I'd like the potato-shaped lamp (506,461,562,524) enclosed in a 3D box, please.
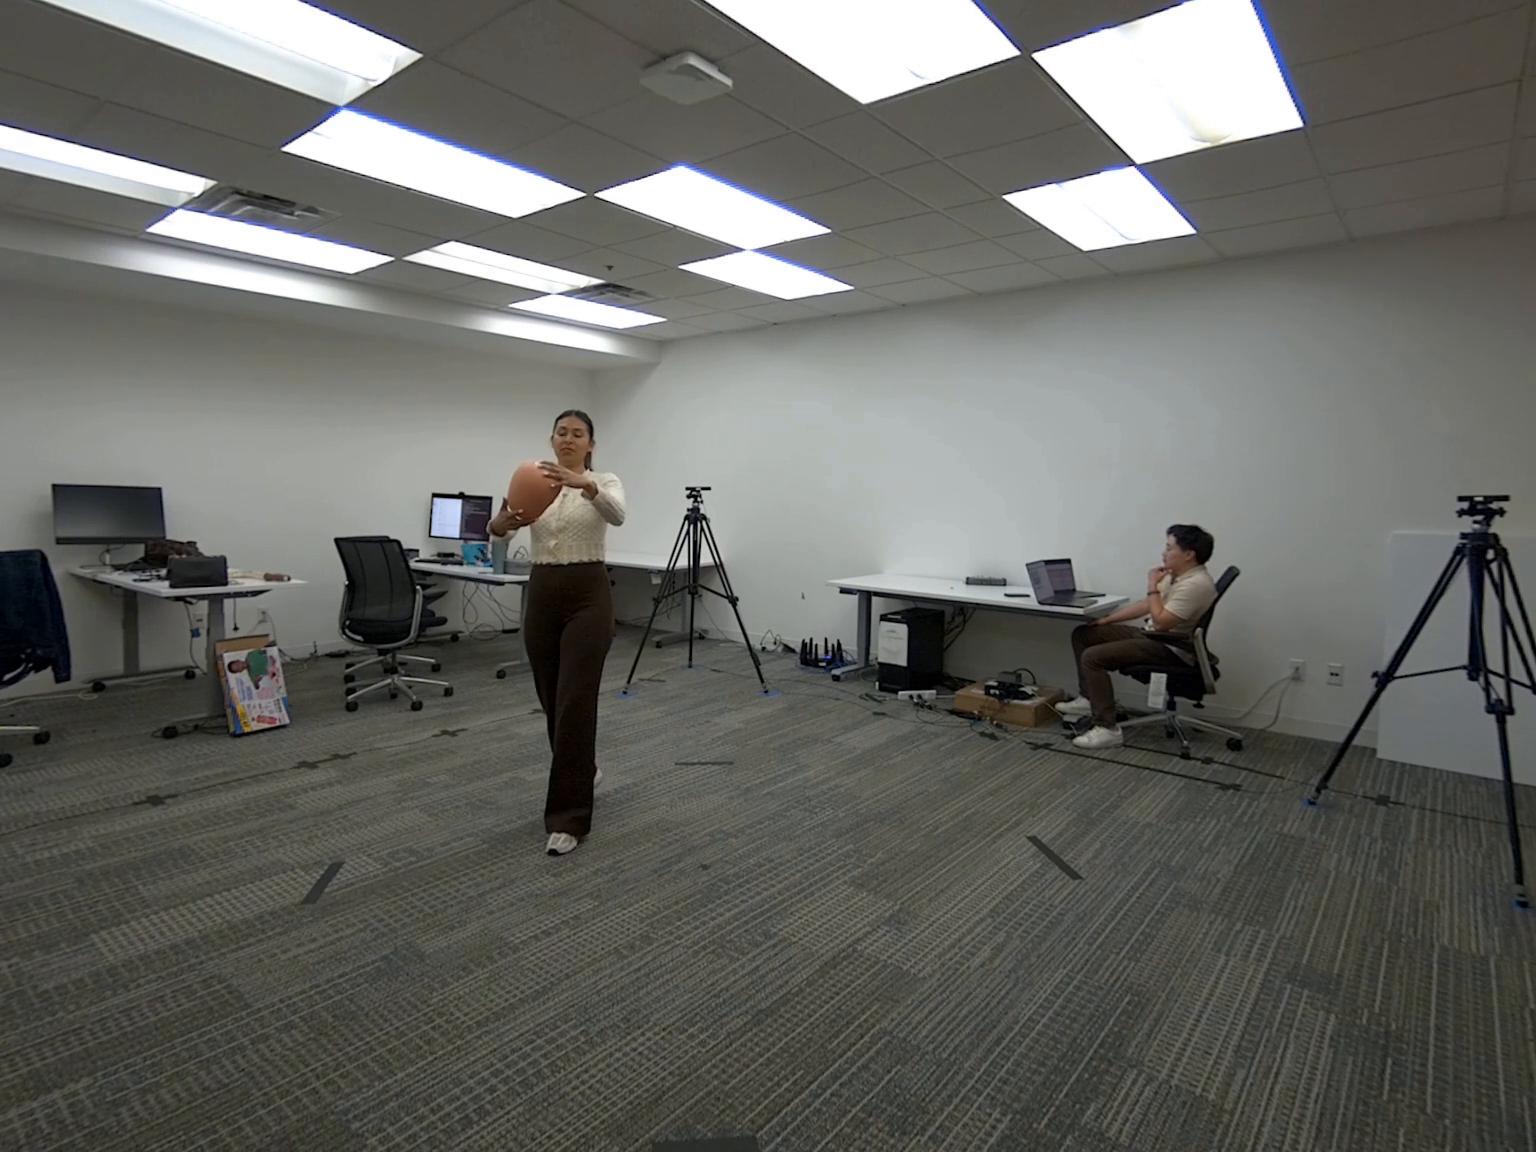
[{"bbox_3d":[-0.819,-0.292,2.930,0.174,0.198,0.162,36,7,9],"label":"potato-shaped lamp"}]
